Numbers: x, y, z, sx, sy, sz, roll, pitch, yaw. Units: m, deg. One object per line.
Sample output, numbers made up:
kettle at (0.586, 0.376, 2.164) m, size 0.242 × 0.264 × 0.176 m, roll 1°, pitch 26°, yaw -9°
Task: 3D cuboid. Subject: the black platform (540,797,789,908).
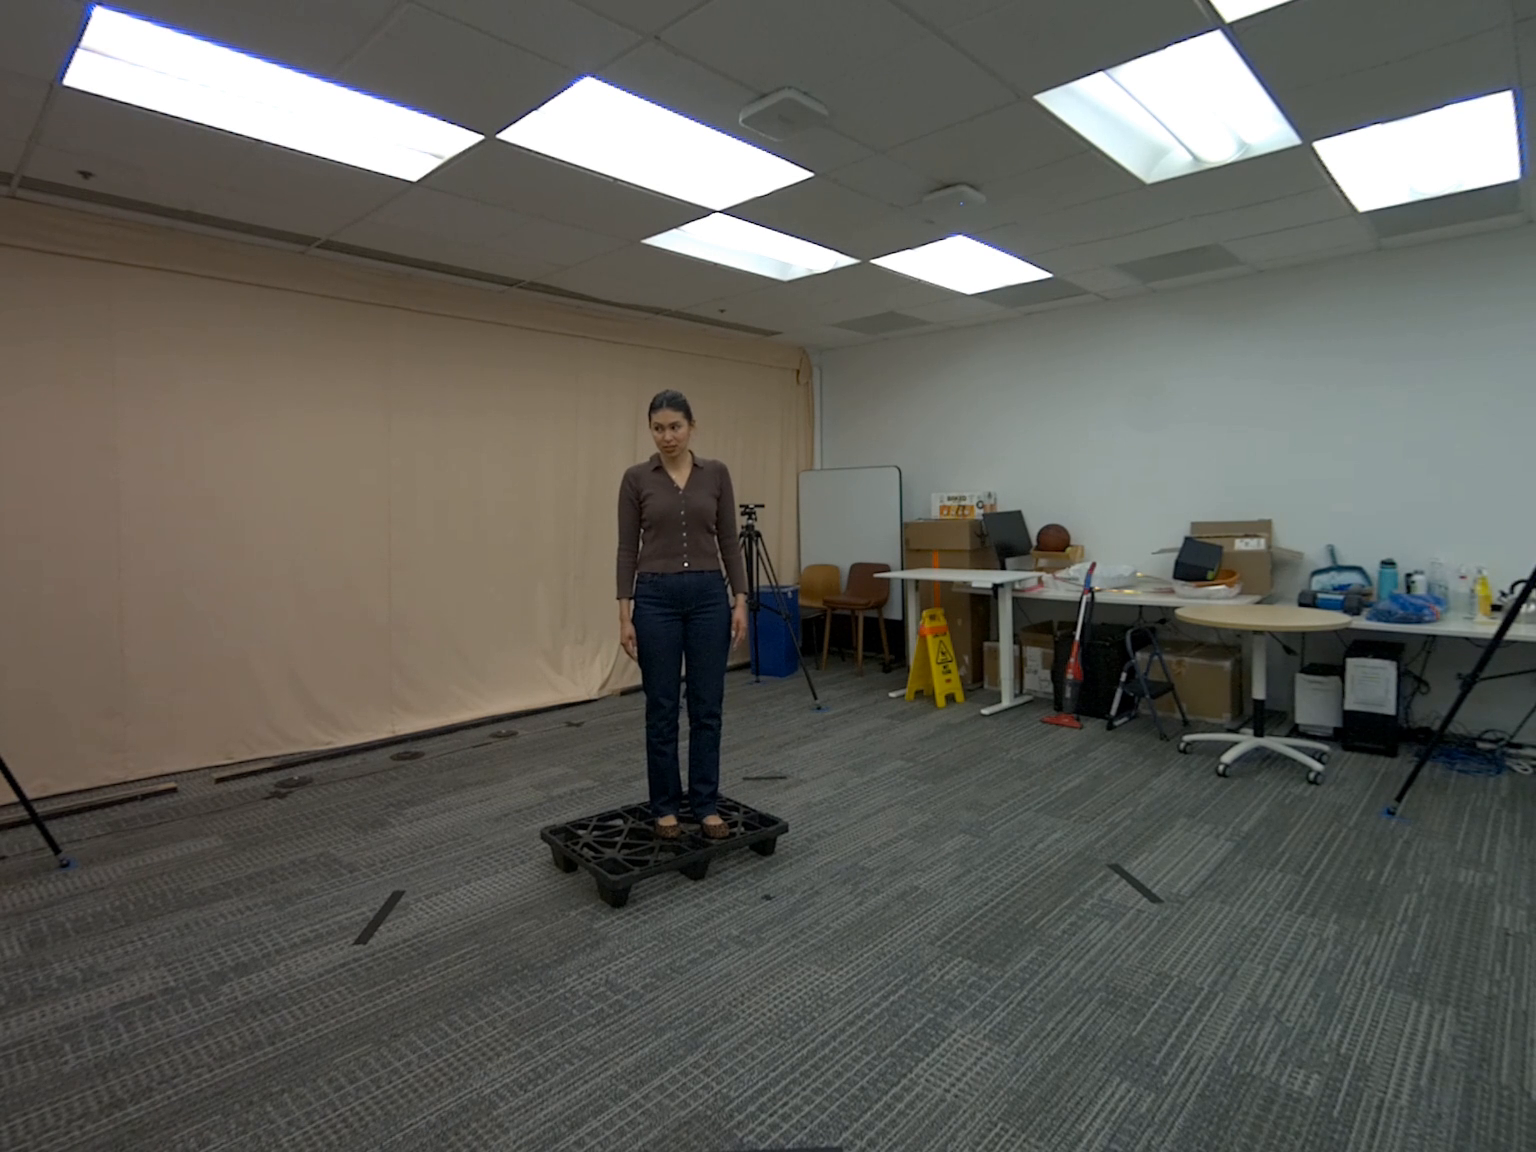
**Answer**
black platform at (-0.400, 1.052, 3.324) m, size 0.782 × 0.143 × 0.625 m, roll -5°, pitch 7°, yaw -38°
